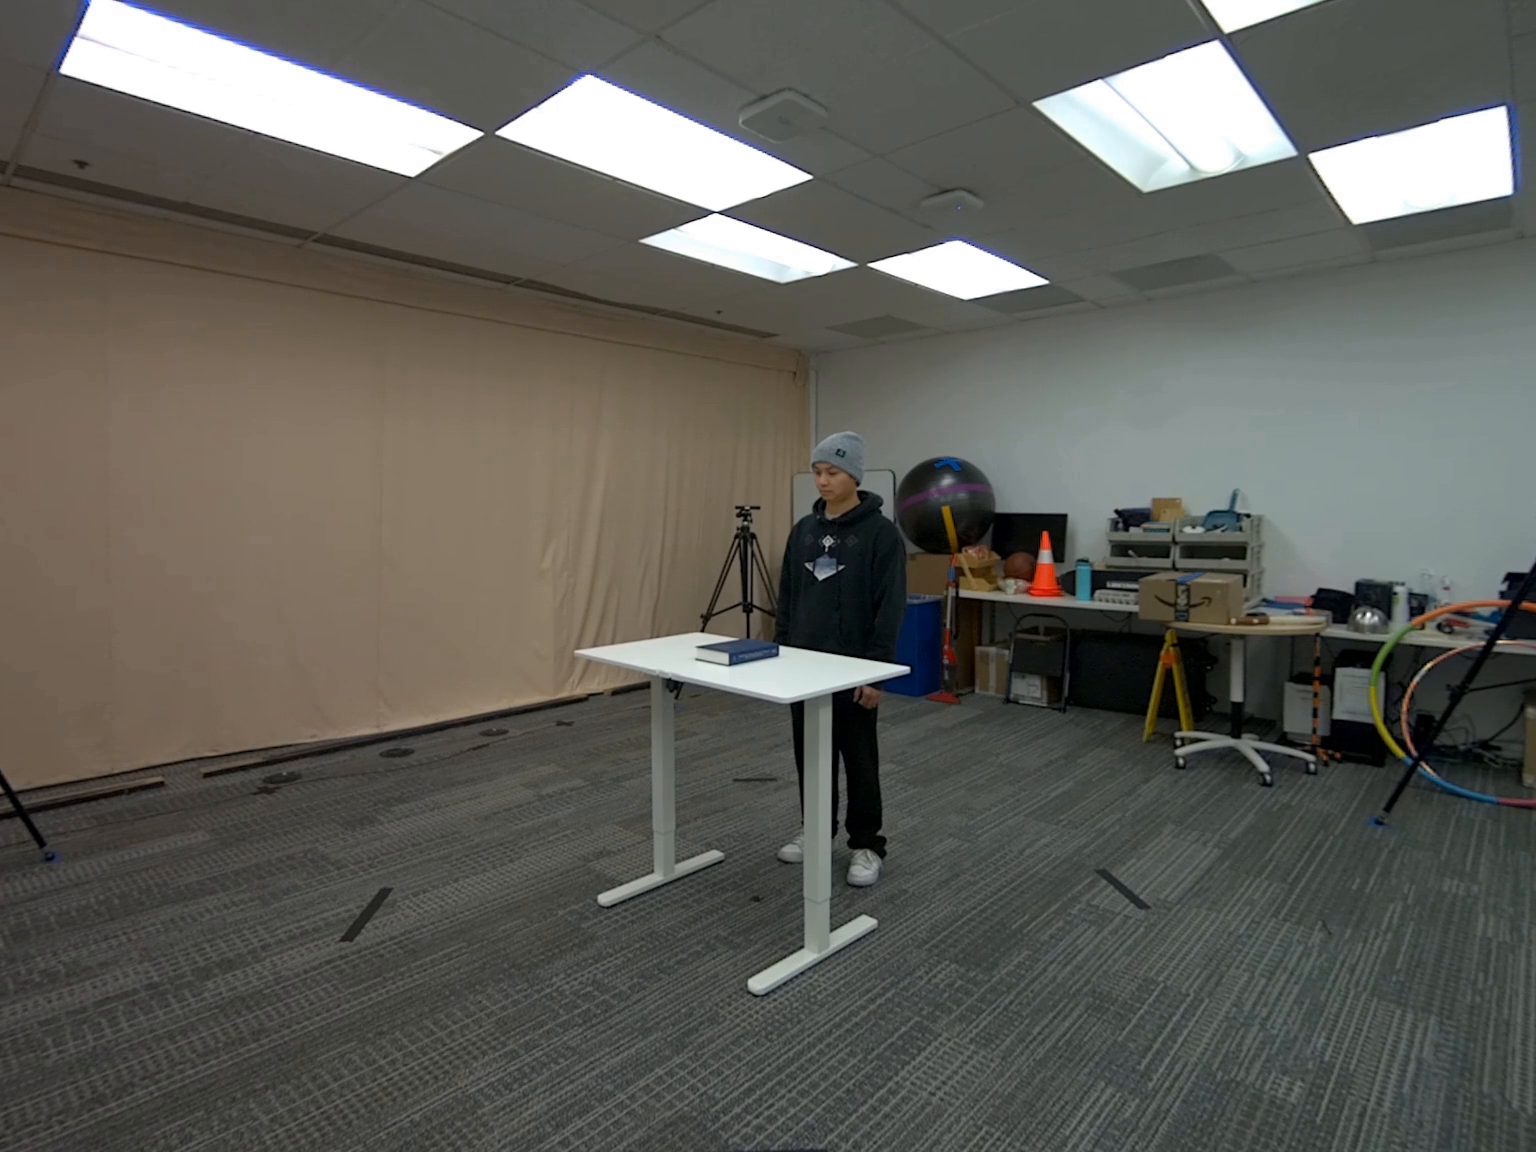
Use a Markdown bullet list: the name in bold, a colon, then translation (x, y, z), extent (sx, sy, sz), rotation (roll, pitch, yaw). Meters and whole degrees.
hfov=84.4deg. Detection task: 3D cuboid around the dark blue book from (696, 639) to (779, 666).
- **dark blue book**: translation (-0.101, 0.257, 2.815), extent (0.169, 0.045, 0.238), rotation (5, 7, 43)
